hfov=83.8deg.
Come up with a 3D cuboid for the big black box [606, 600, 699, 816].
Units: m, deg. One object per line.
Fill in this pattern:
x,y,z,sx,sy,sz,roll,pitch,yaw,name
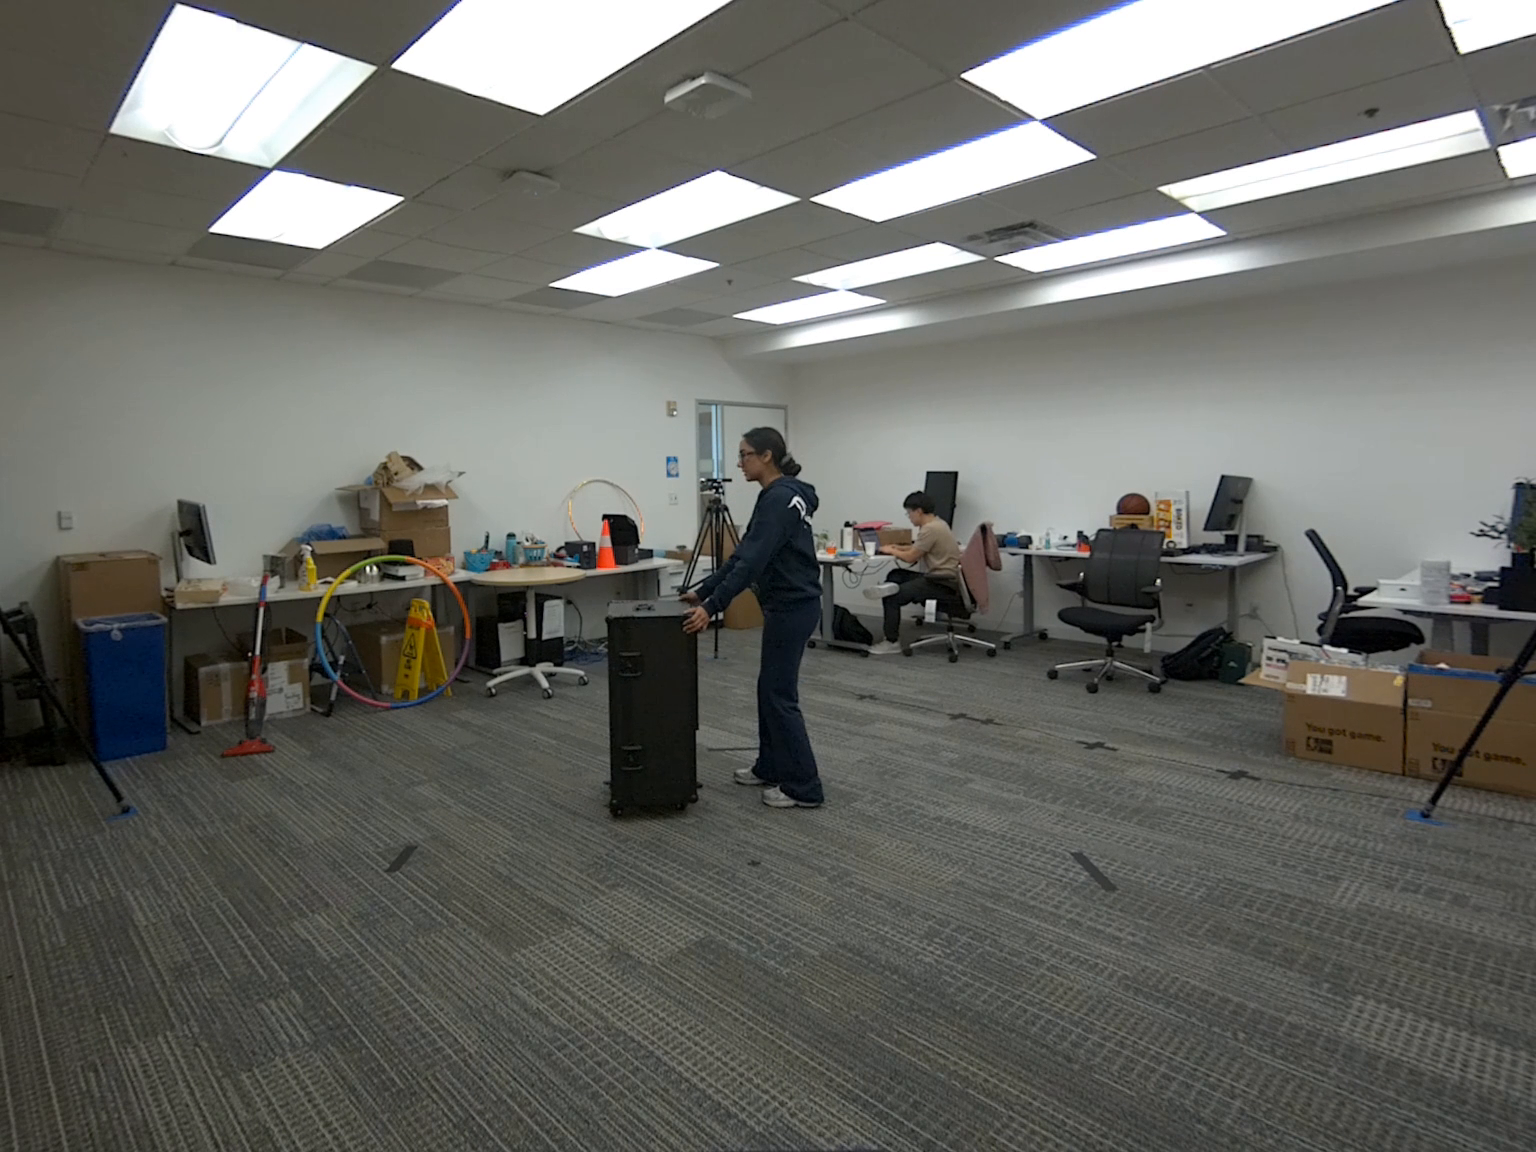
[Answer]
-0.499,0.563,3.721,0.393,0.860,0.526,0,3,-8,big black box
